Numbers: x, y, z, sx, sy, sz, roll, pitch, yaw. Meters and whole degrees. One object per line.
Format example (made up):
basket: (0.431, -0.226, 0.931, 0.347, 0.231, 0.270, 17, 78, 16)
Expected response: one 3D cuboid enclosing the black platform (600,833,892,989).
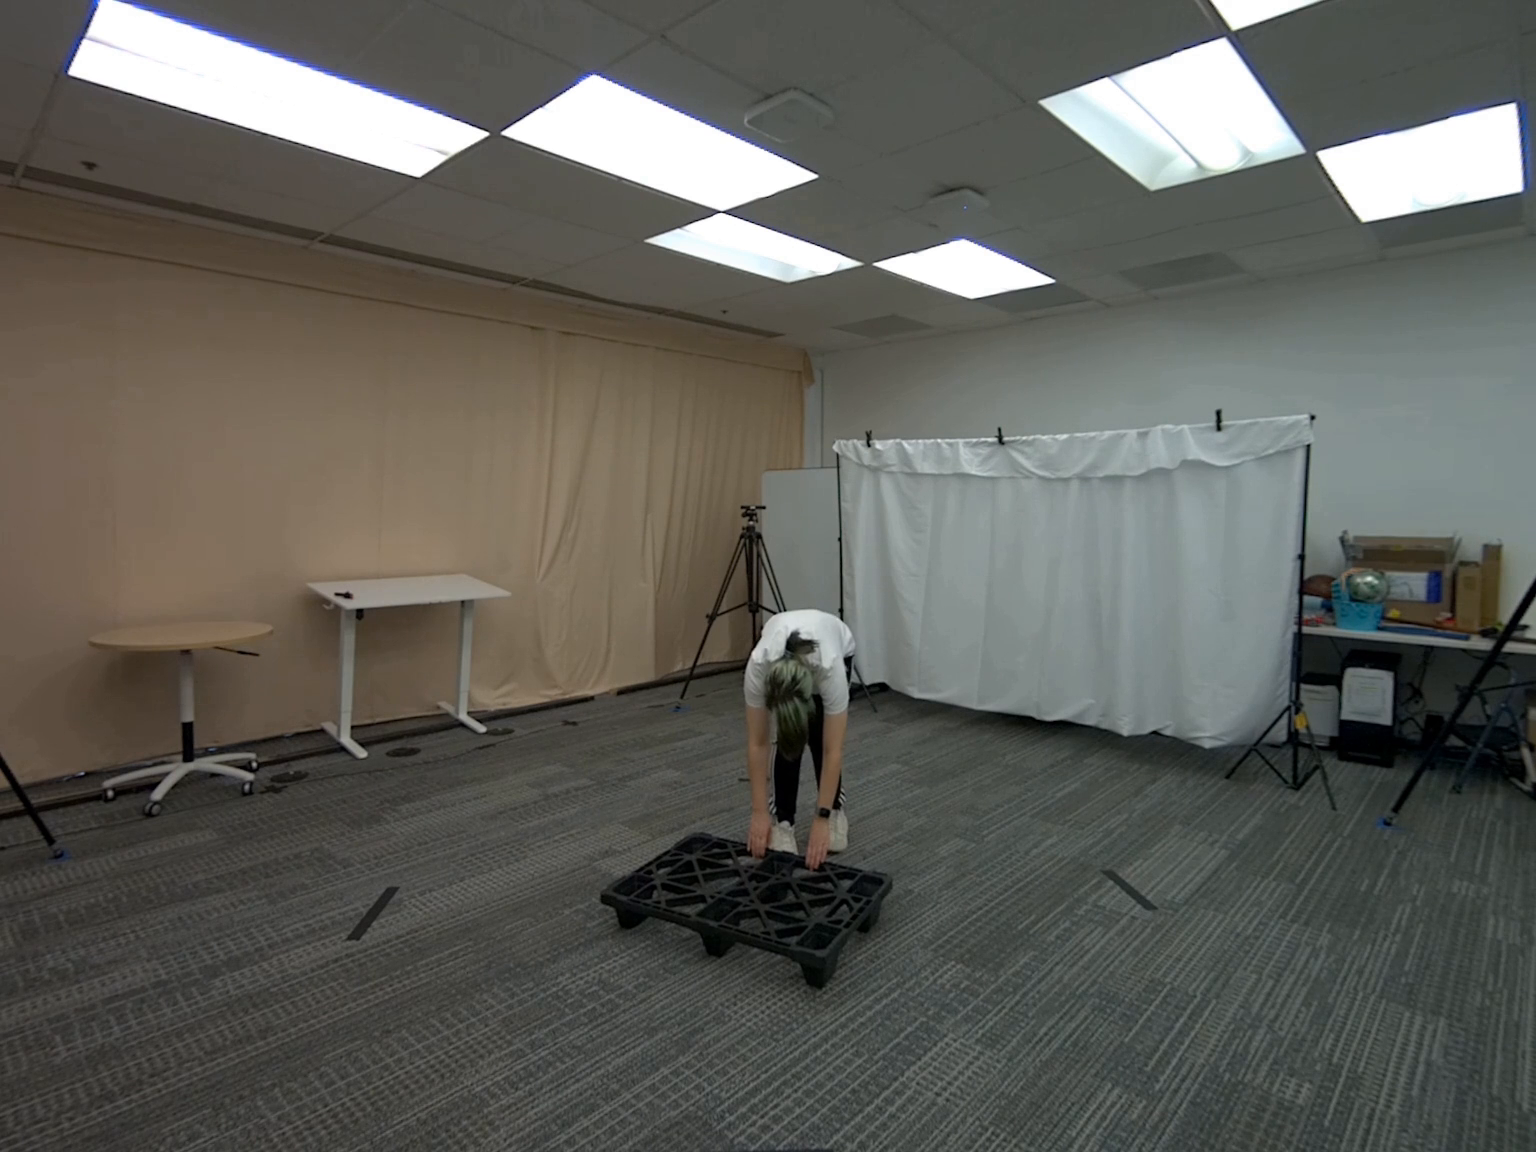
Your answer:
black platform: (-0.065, 1.092, 2.811, 0.829, 0.143, 0.589, 3, 5, 29)
